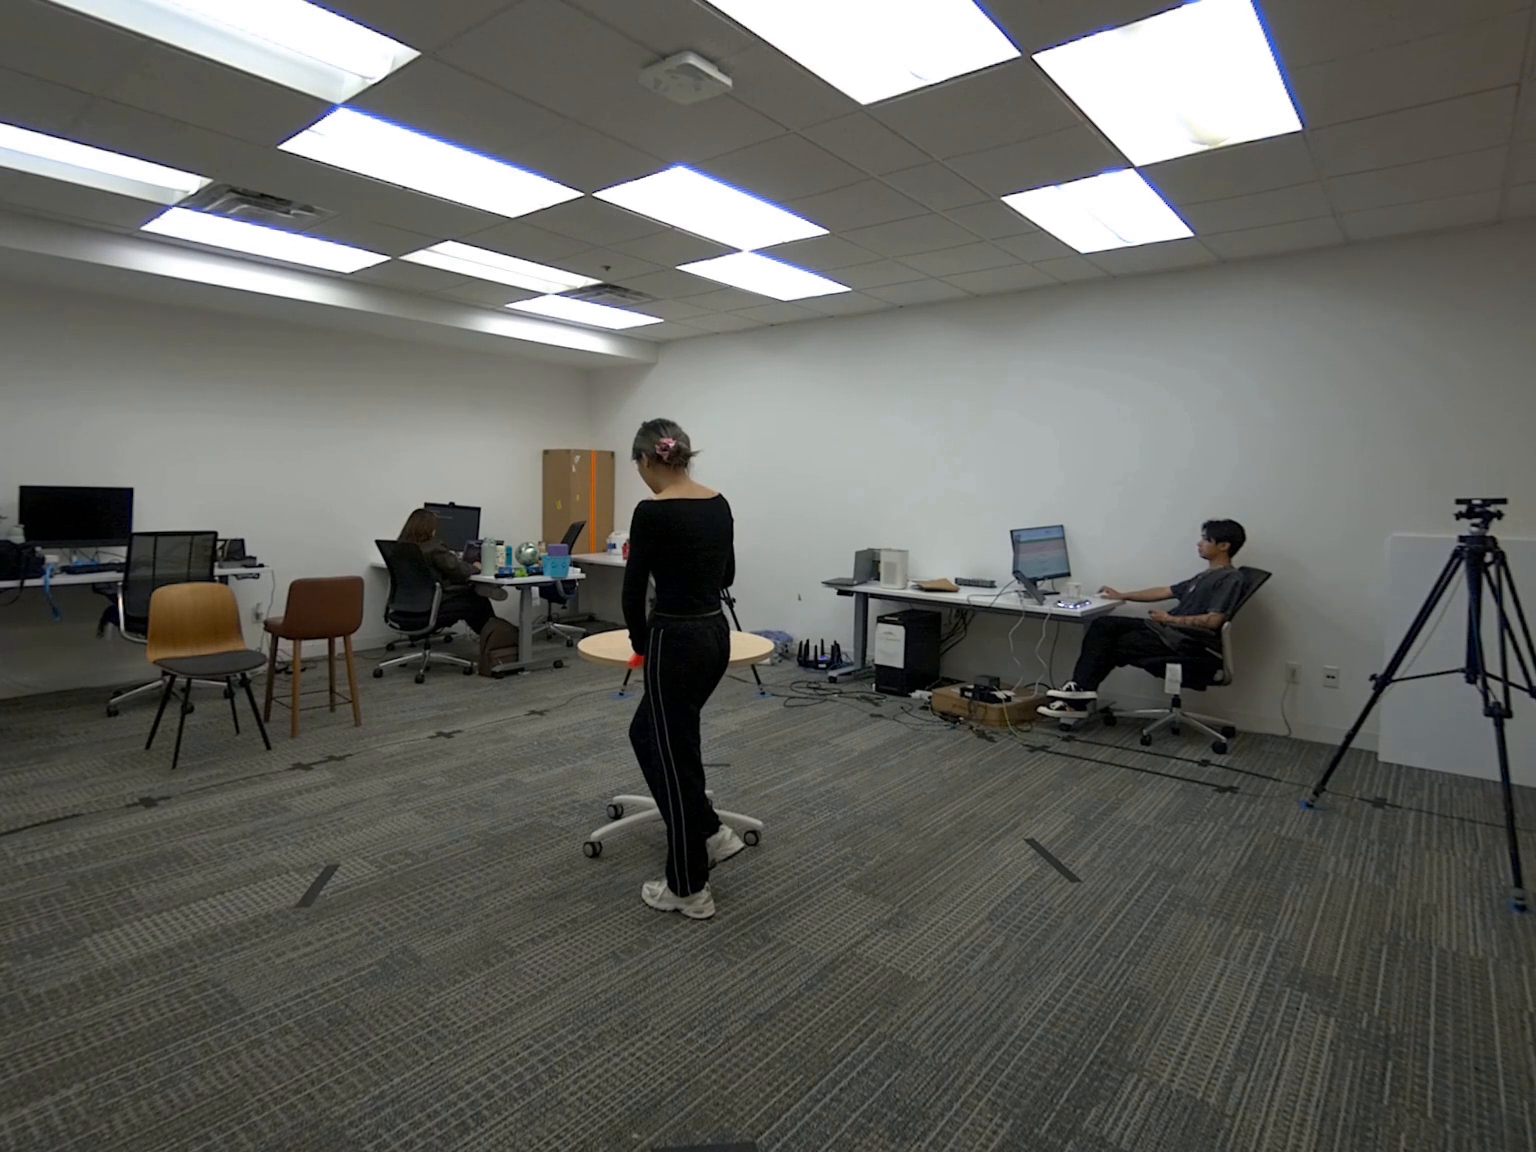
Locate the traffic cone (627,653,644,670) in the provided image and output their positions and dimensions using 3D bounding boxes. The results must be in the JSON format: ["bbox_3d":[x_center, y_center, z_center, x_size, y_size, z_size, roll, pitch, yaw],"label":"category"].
[{"bbox_3d":[-0.398,0.235,3.048,0.210,0.200,0.381,1,19,23],"label":"traffic cone"}]
